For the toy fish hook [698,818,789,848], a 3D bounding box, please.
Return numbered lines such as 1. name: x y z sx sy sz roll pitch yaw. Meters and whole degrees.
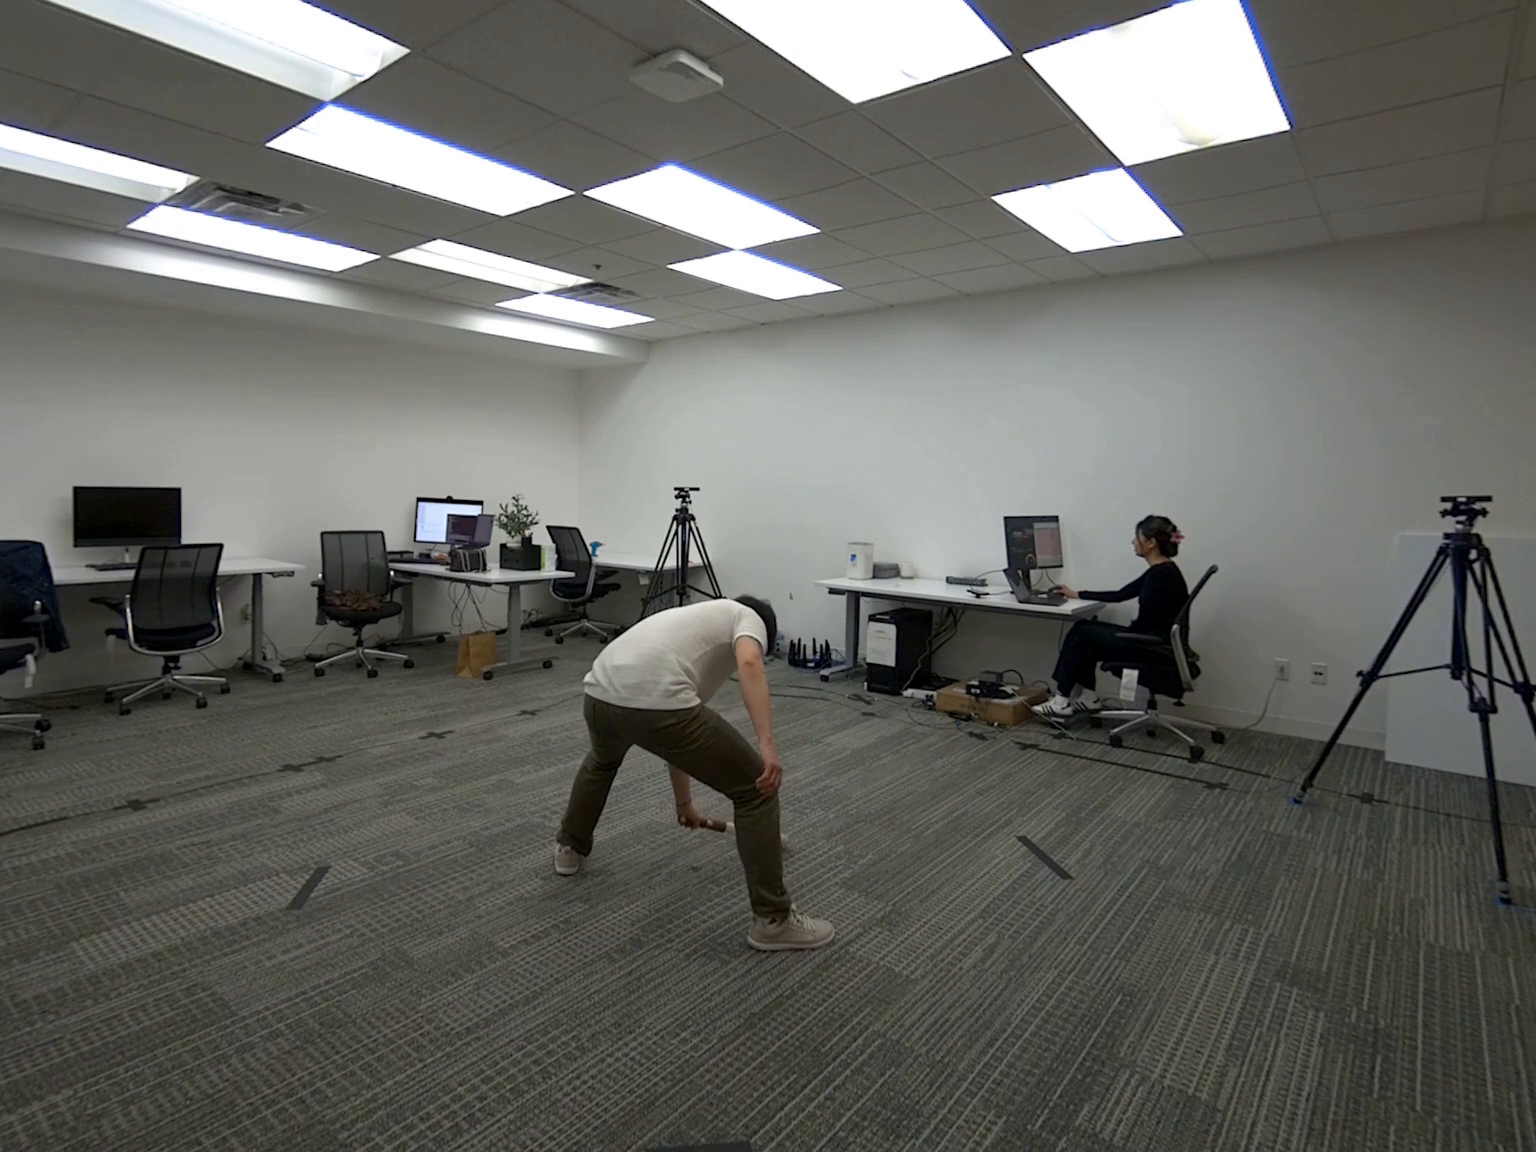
1. toy fish hook: -0.161 0.946 3.214 0.490 0.049 0.228 21 -25 -30
